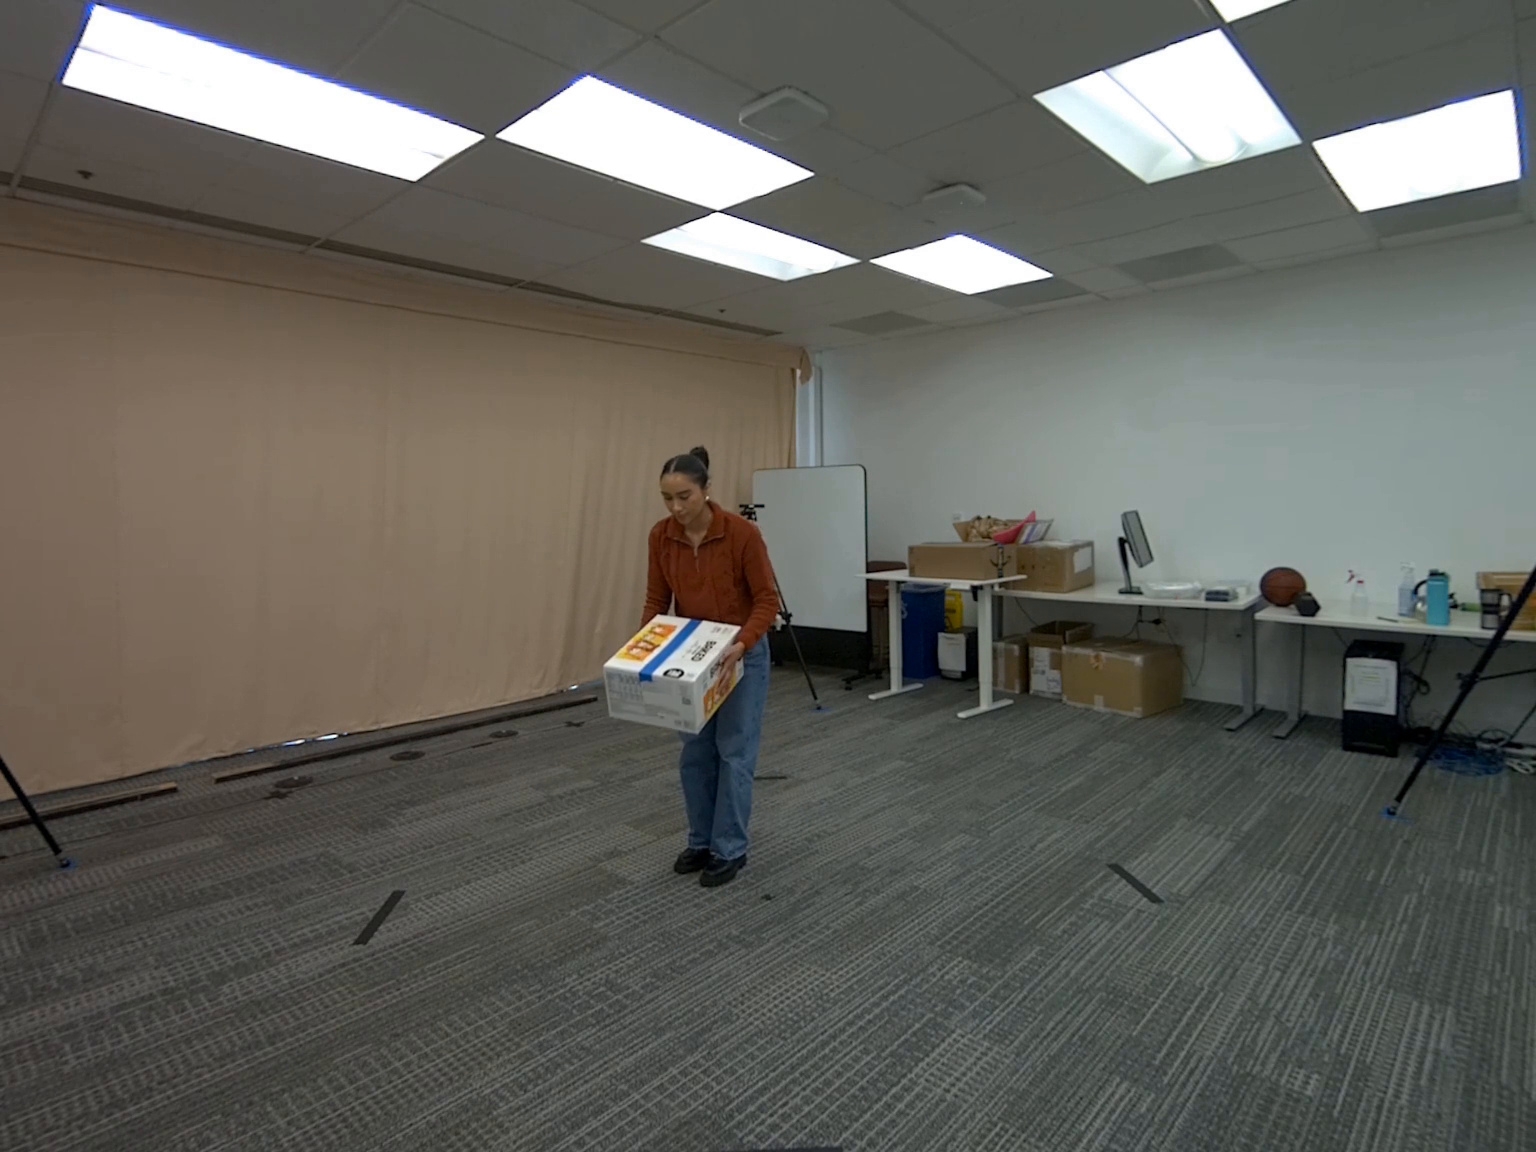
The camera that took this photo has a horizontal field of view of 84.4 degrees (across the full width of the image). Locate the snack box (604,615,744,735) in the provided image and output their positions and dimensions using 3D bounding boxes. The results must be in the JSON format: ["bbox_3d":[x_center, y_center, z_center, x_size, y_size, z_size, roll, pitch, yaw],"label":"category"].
[{"bbox_3d":[-0.319,0.334,2.946,0.349,0.203,0.401,6,25,22],"label":"snack box"}]
